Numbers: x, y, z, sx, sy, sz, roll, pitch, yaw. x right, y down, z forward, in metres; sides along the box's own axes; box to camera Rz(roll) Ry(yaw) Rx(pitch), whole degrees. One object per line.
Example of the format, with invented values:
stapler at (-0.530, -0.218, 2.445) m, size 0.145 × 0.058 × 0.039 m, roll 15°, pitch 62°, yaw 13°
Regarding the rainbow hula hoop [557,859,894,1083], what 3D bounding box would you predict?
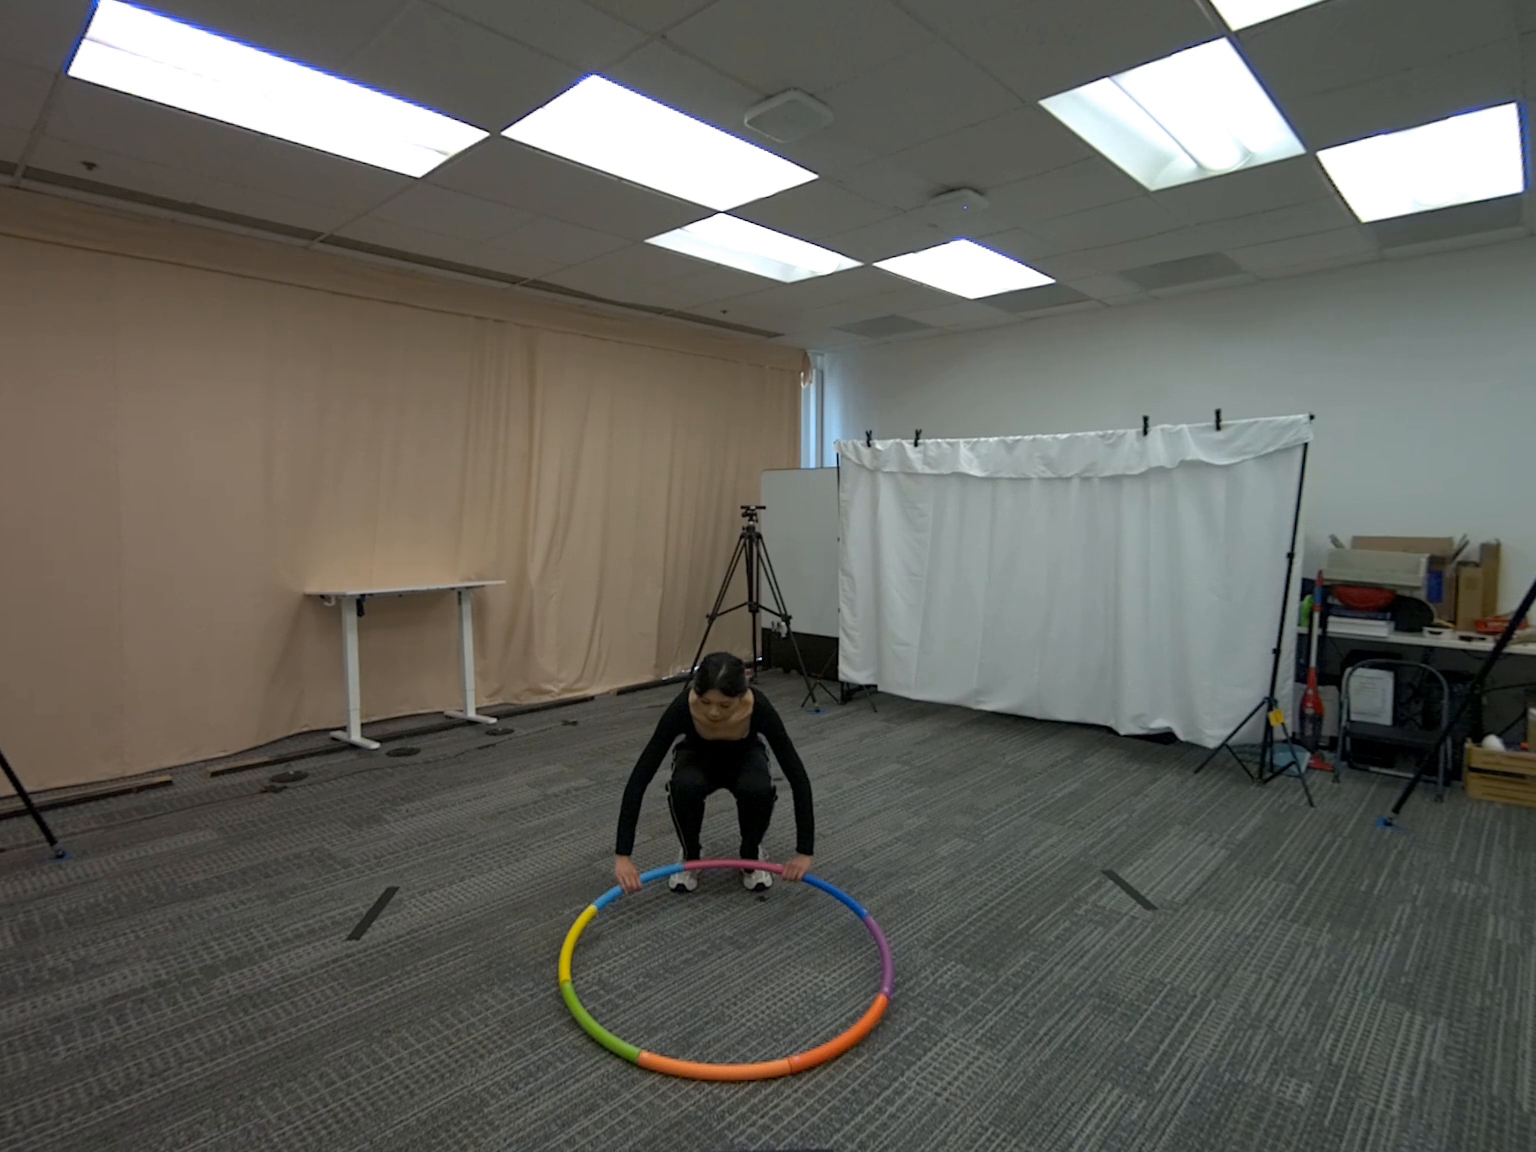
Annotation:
rainbow hula hoop at (-0.120, 1.099, 2.518) m, size 0.978 × 0.035 × 0.986 m, roll -1°, pitch 11°, yaw -2°
